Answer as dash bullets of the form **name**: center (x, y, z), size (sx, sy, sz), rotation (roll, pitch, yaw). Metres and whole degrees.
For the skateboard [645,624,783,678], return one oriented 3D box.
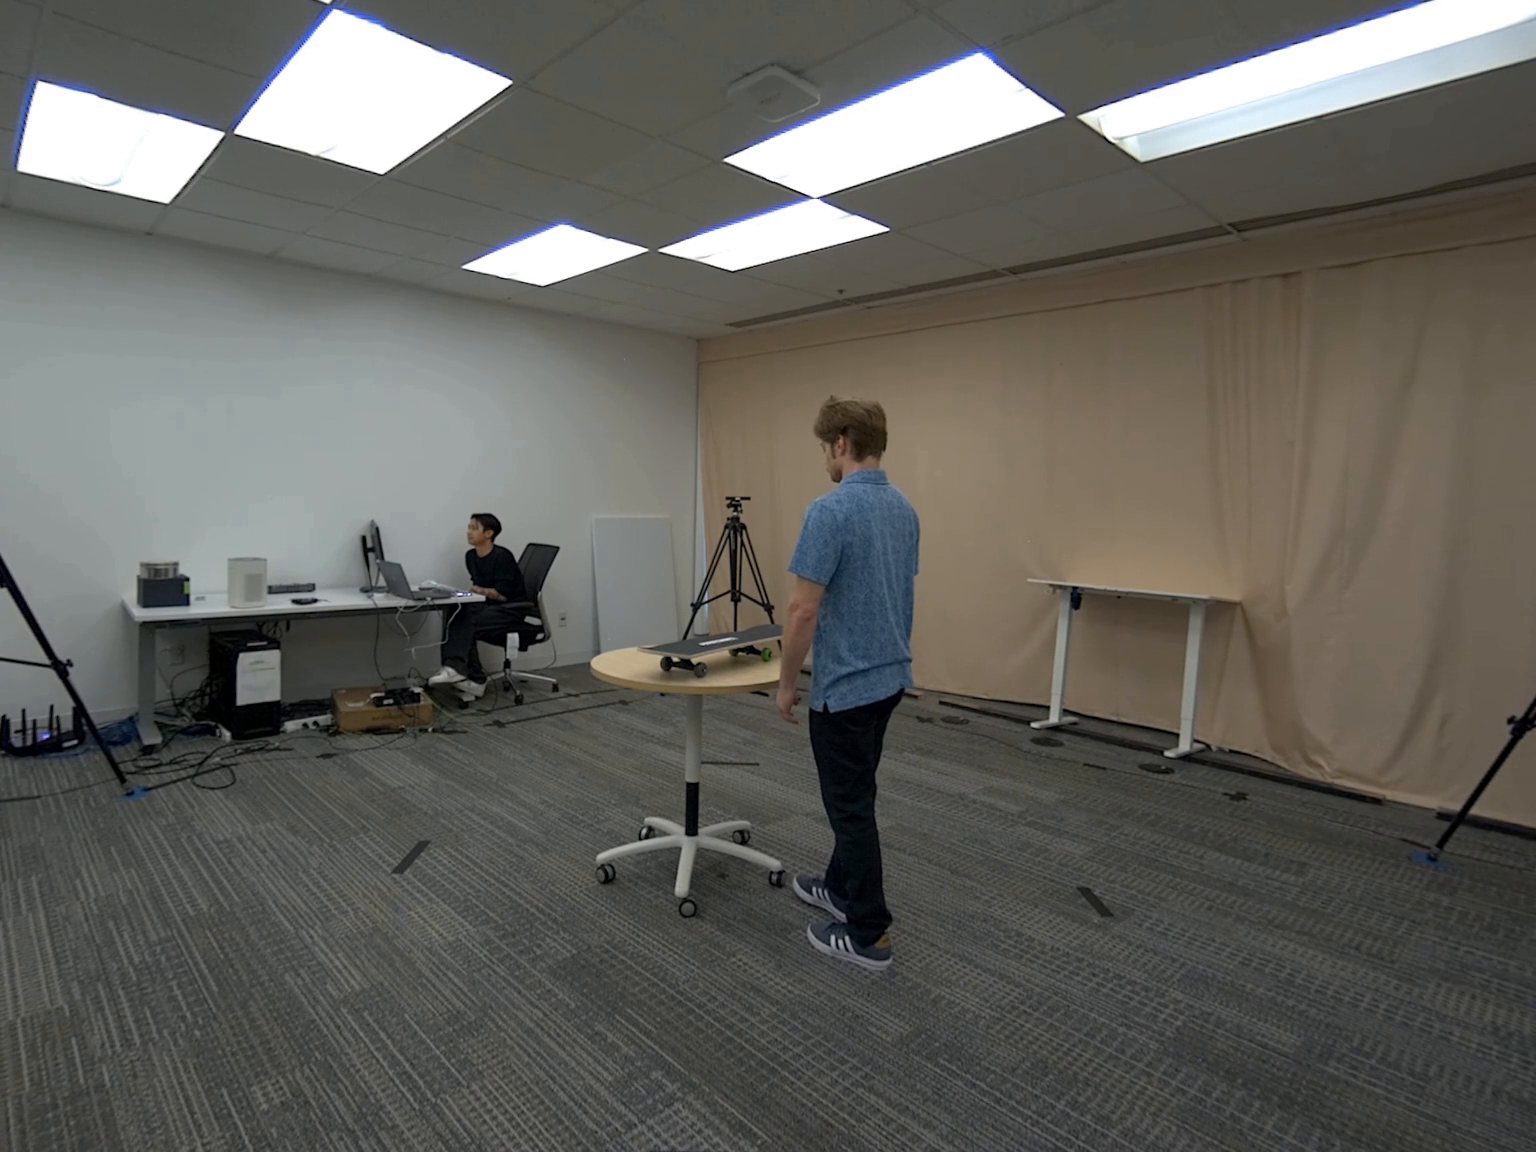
- **skateboard**: center (-0.185, 0.275, 3.058), size (0.198, 0.110, 0.769), rotation (5, 7, 35)
